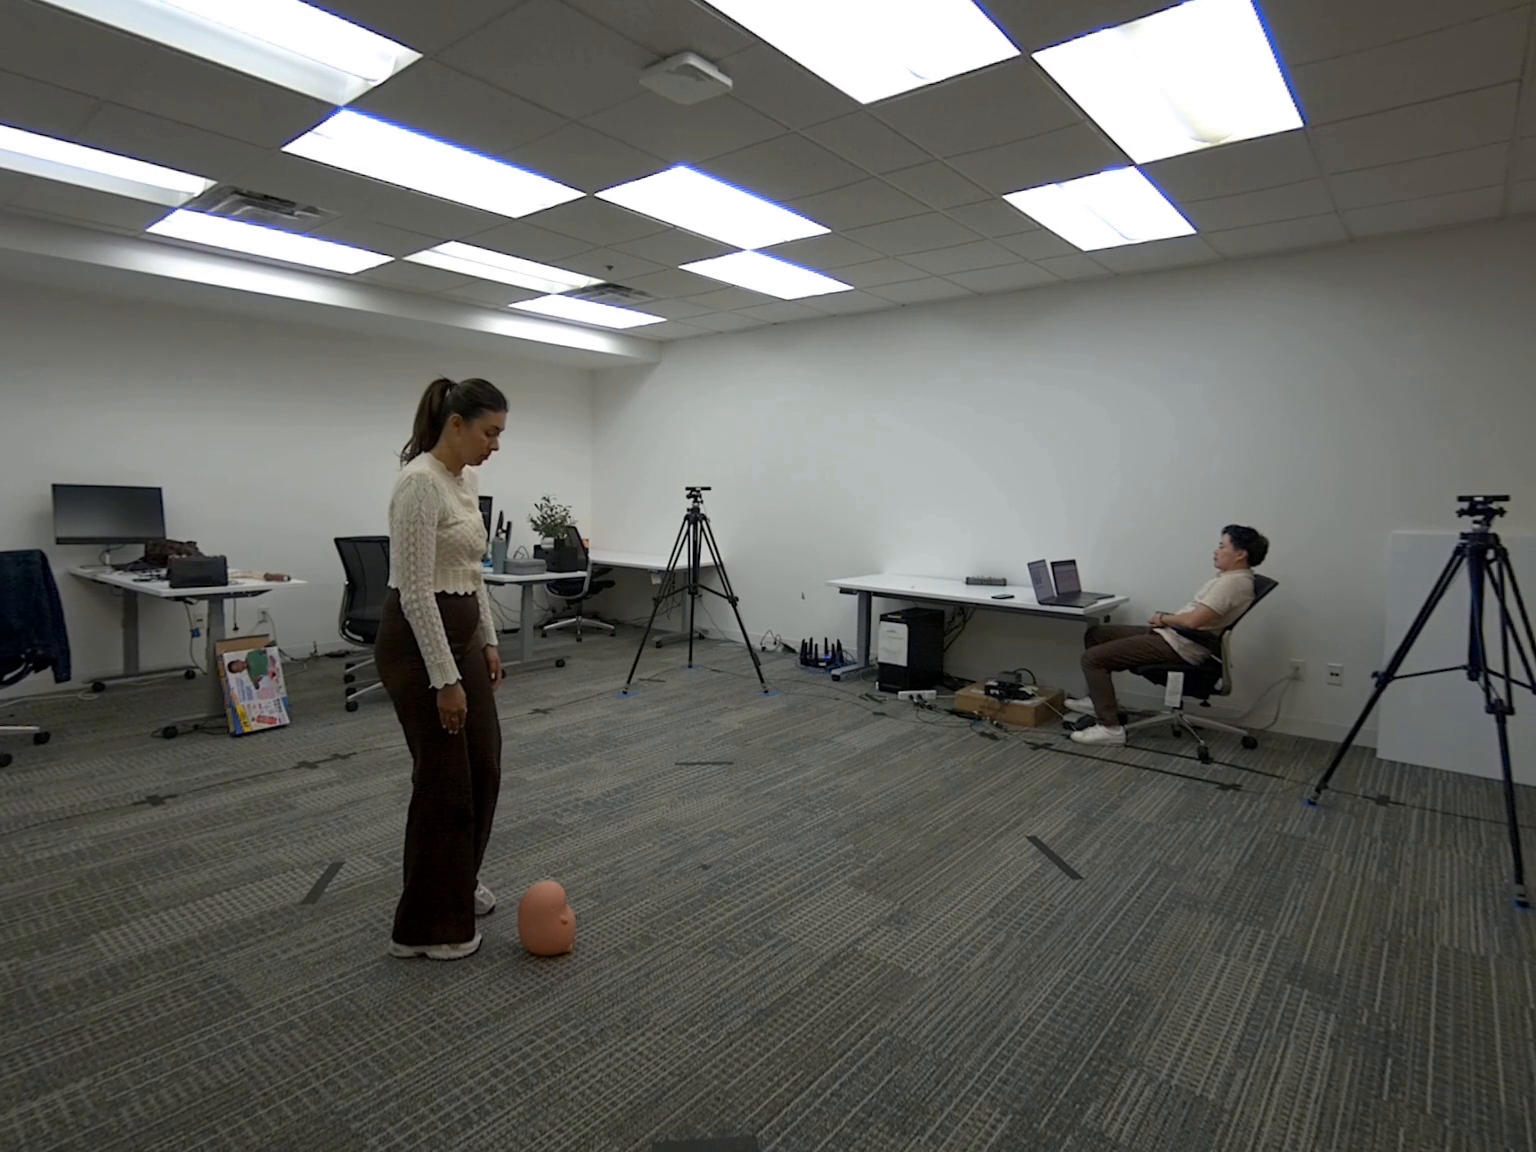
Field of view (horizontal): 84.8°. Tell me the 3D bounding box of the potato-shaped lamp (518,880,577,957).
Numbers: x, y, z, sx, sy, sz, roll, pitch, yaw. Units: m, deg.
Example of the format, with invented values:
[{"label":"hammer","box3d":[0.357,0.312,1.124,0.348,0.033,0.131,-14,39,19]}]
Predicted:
[{"label":"potato-shaped lamp","box3d":[-0.668,1.014,2.557,0.169,0.197,0.167,-1,4,-14]}]
